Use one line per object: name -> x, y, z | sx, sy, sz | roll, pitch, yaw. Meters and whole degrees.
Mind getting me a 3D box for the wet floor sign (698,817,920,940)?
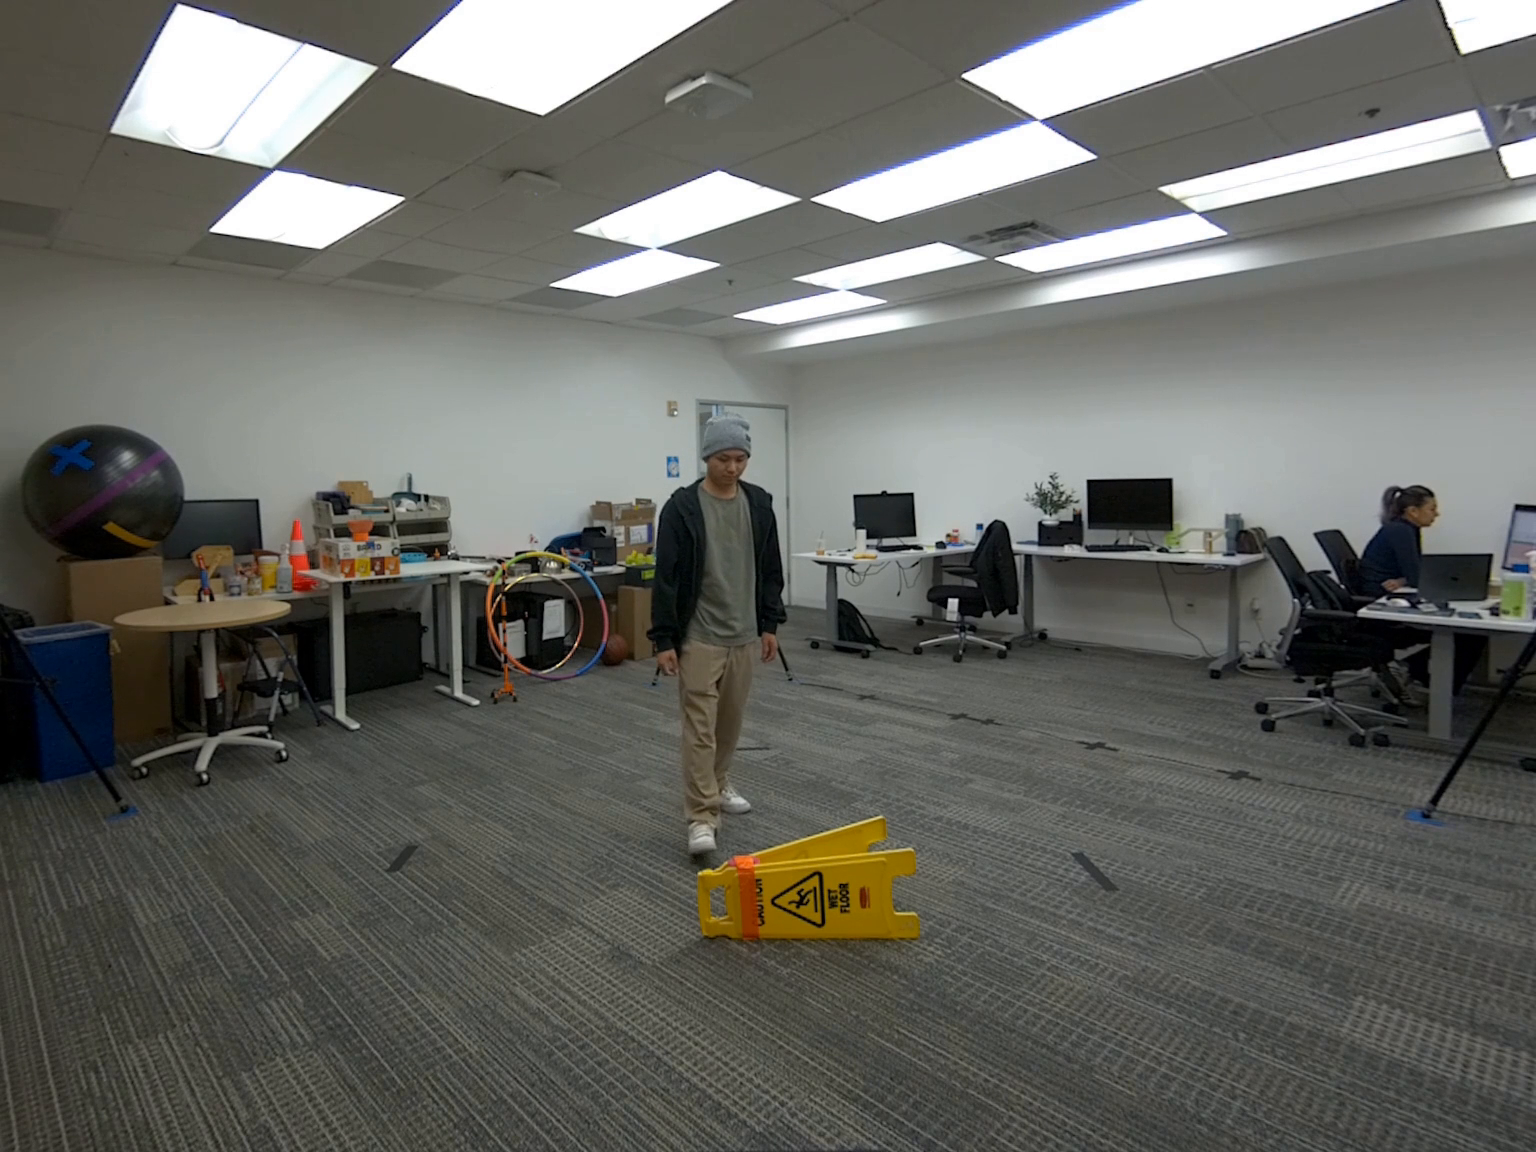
wet floor sign -> 0.112, 0.969, 2.642 | 0.641, 0.281, 0.293 | -5, 6, -9
